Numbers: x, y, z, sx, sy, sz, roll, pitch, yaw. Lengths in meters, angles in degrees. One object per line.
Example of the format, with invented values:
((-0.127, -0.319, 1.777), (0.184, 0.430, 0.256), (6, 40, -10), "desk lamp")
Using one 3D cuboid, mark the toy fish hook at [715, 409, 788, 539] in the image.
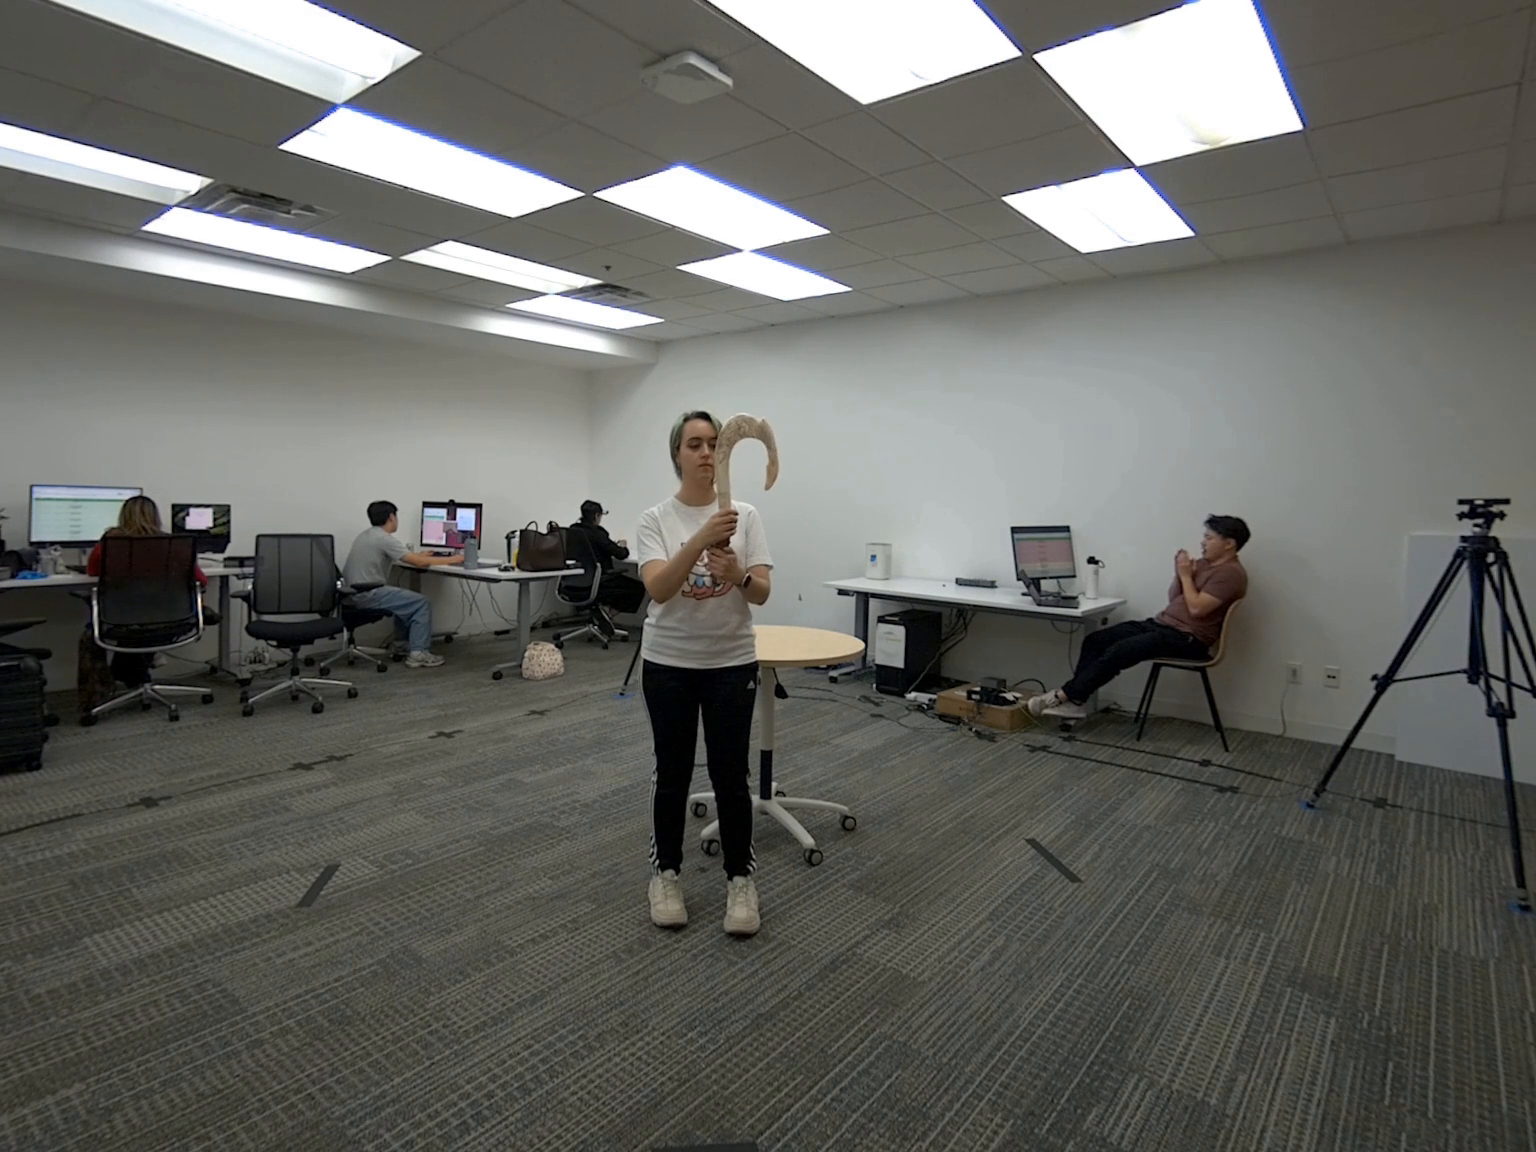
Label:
((-0.092, -0.208, 2.411), (0.234, 0.502, 0.047), (21, 15, 41), "toy fish hook")
